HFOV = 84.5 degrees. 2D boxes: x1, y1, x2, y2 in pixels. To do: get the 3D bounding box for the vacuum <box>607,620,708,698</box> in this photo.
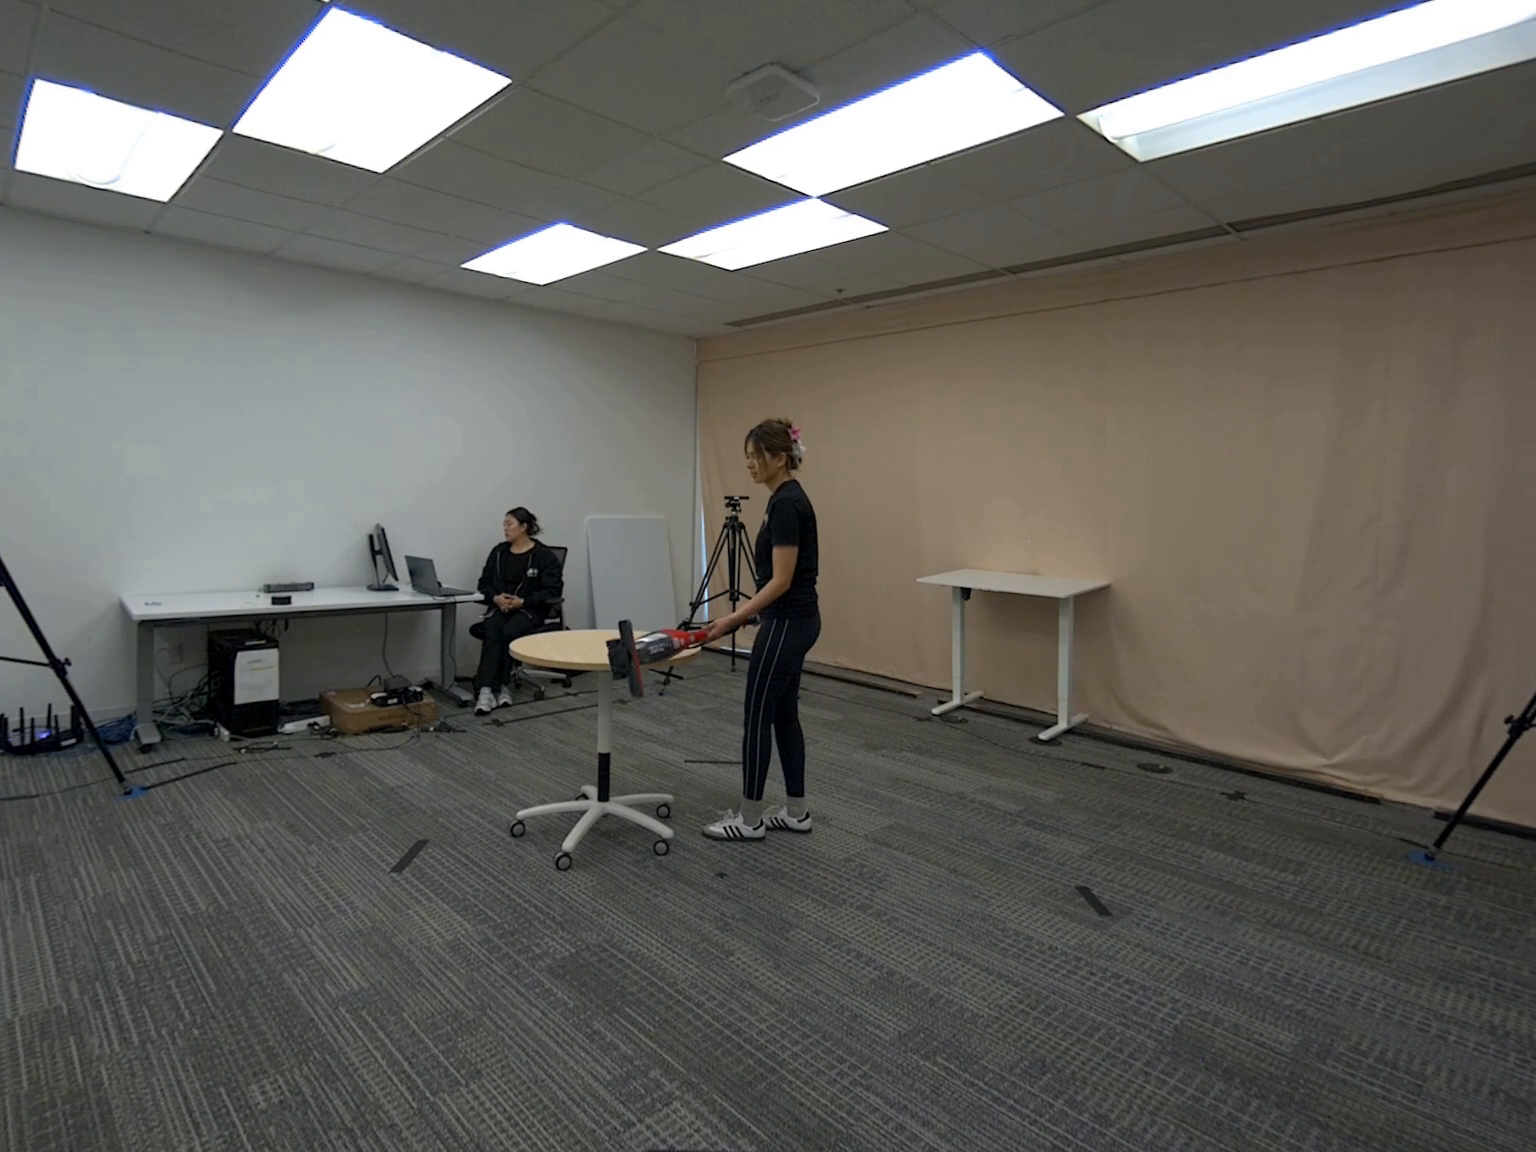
[{"bbox_3d":[-0.285,0.244,3.189,0.146,0.252,1.033,-6,2,23],"label":"vacuum"}]
